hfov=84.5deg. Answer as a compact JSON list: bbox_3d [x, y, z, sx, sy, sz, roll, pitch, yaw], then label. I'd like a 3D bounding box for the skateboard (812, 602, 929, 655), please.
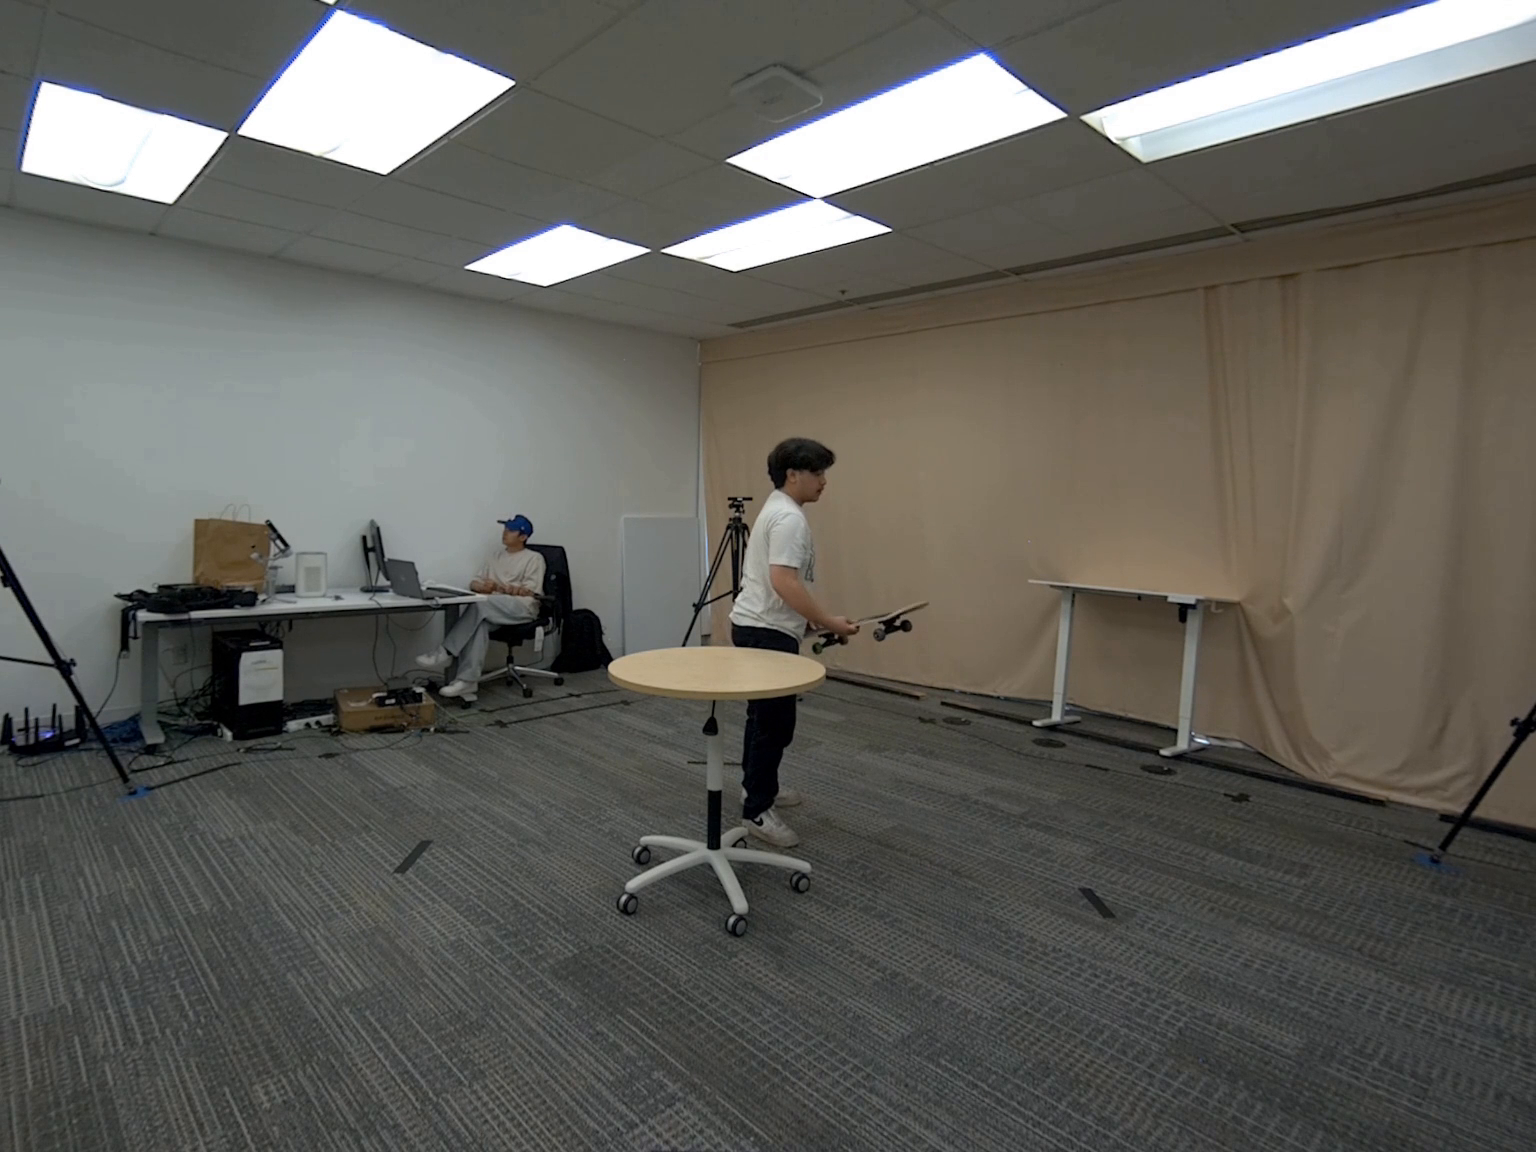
[{"bbox_3d":[0.366,0.229,3.506,0.190,0.111,0.795,-13,-5,-35],"label":"skateboard"}]
